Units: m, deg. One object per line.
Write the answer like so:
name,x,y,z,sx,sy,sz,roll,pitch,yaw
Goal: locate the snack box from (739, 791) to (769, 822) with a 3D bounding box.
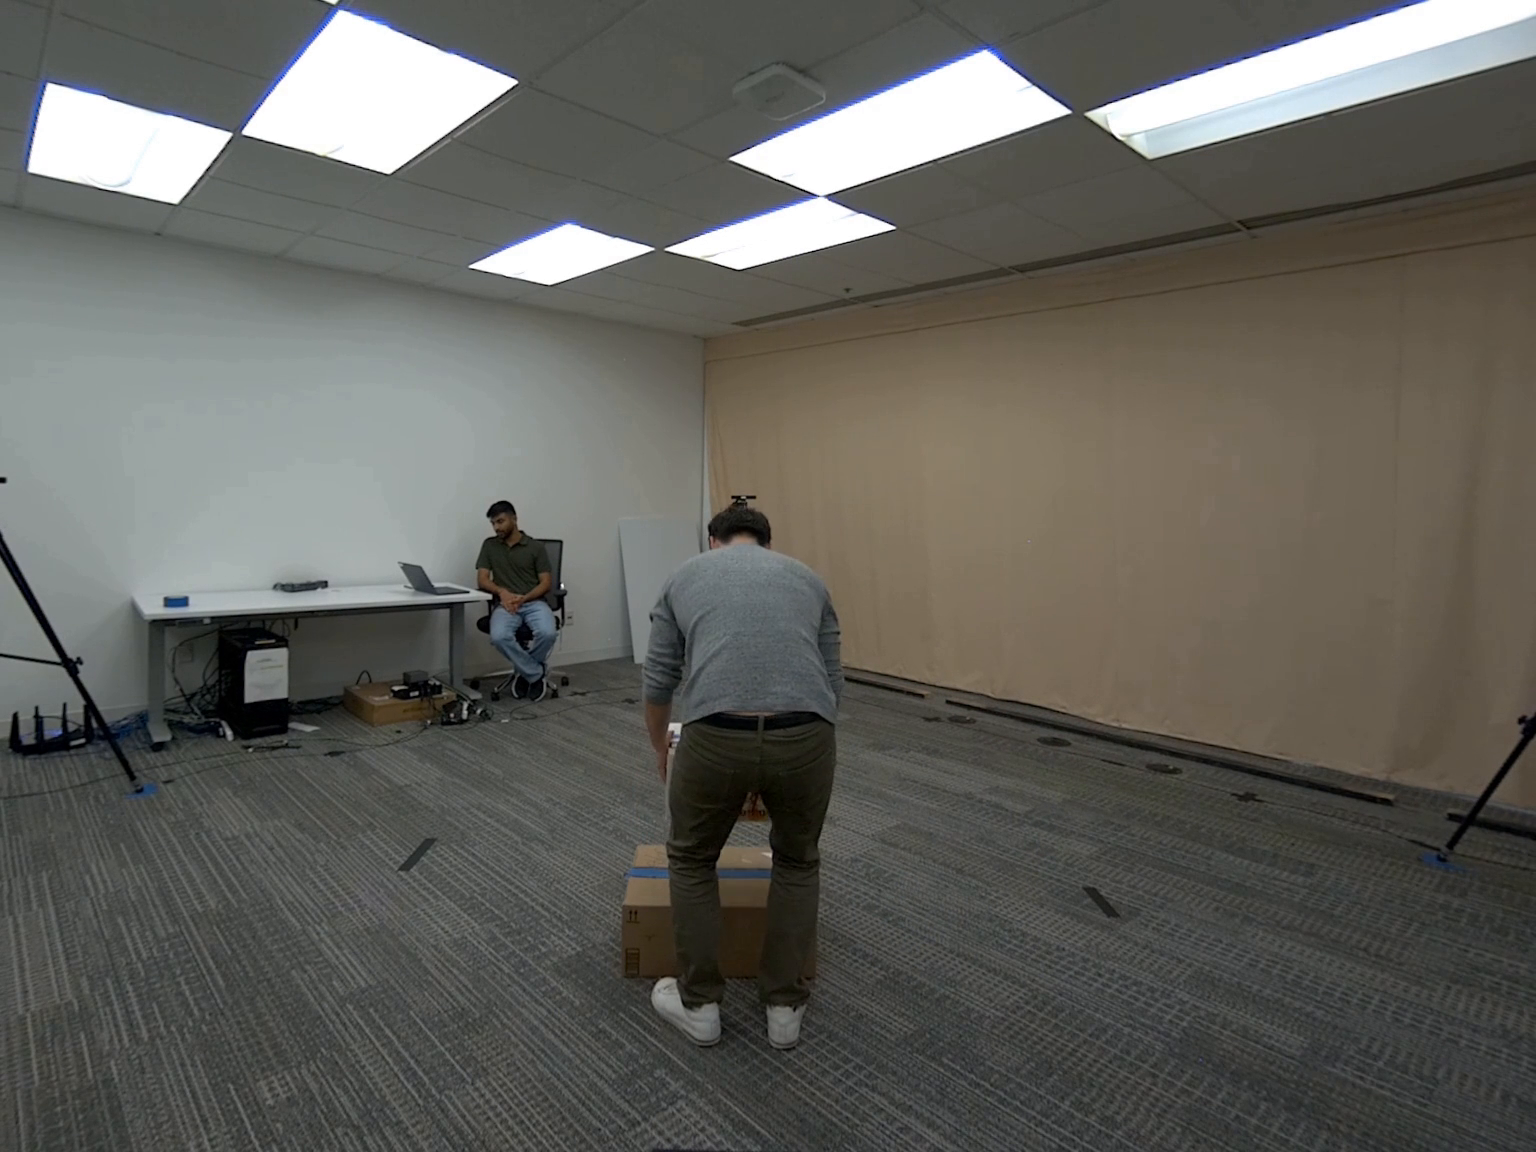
snack box,-0.111,0.598,2.562,0.403,0.205,0.343,1,4,-7
